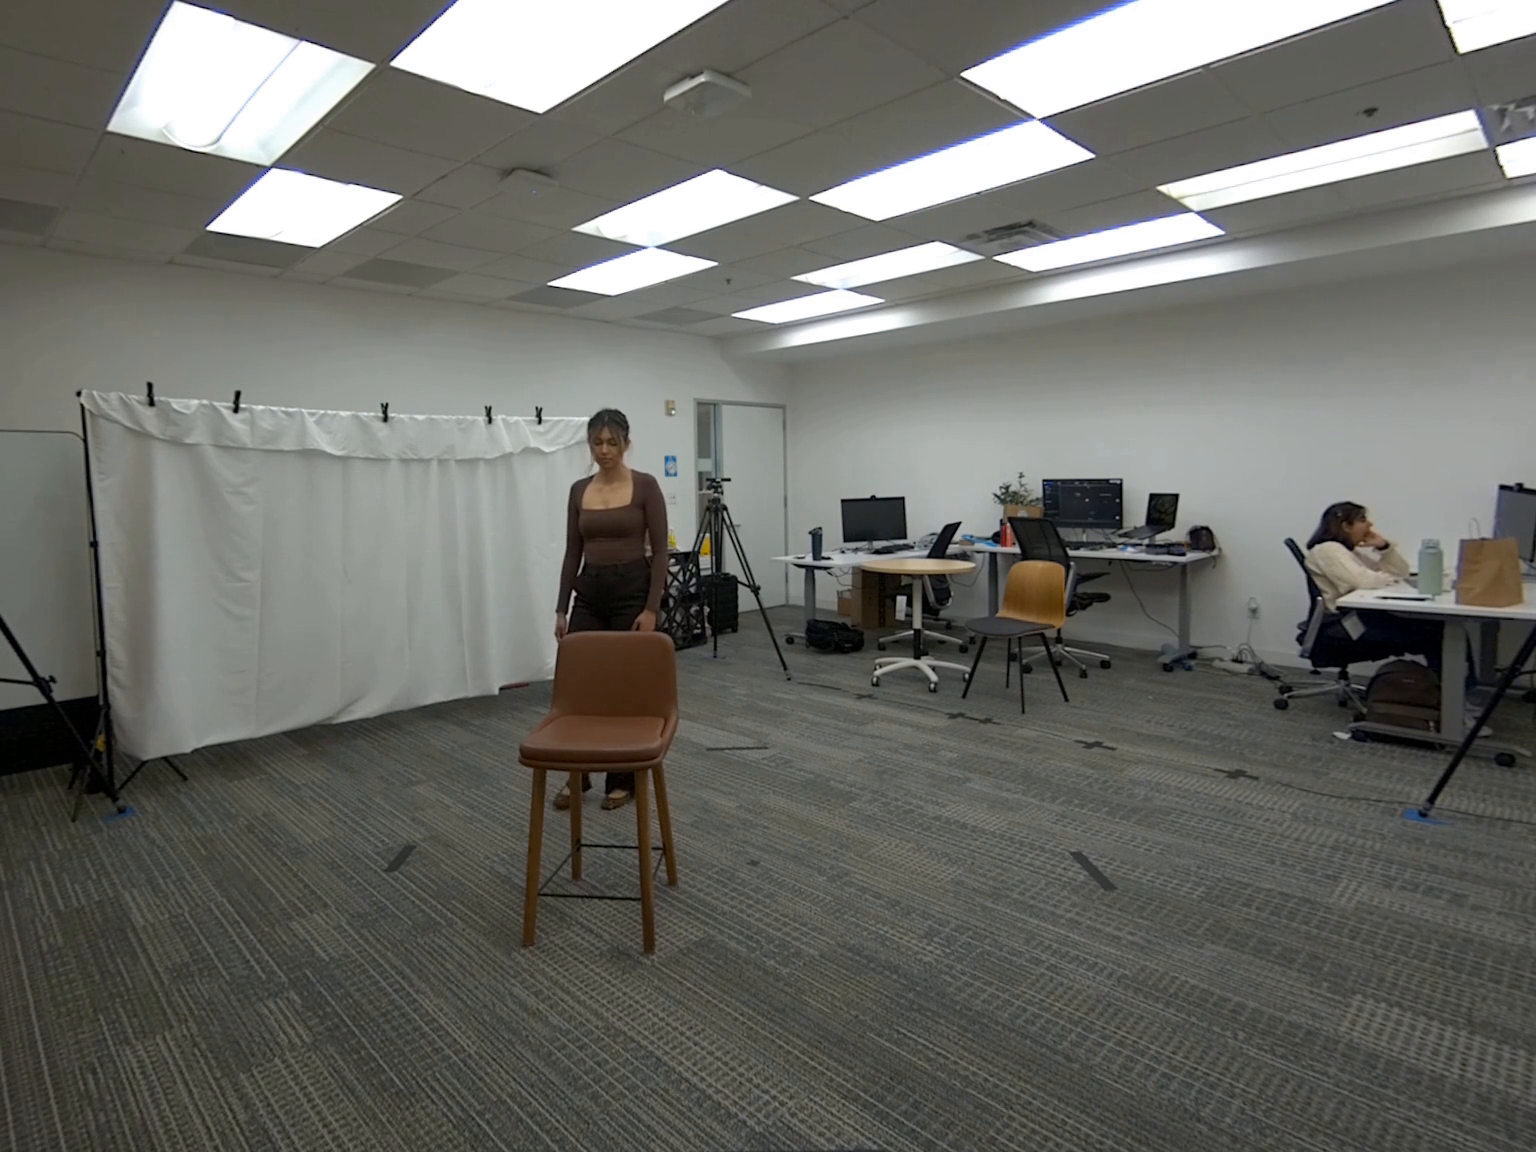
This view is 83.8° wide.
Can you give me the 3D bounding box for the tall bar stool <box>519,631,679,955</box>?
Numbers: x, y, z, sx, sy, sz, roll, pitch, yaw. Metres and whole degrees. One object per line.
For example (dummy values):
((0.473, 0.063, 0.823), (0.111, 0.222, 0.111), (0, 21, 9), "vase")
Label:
((-0.531, 0.657, 2.752), (0.461, 0.888, 0.464), (0, 2, 9), "tall bar stool")
